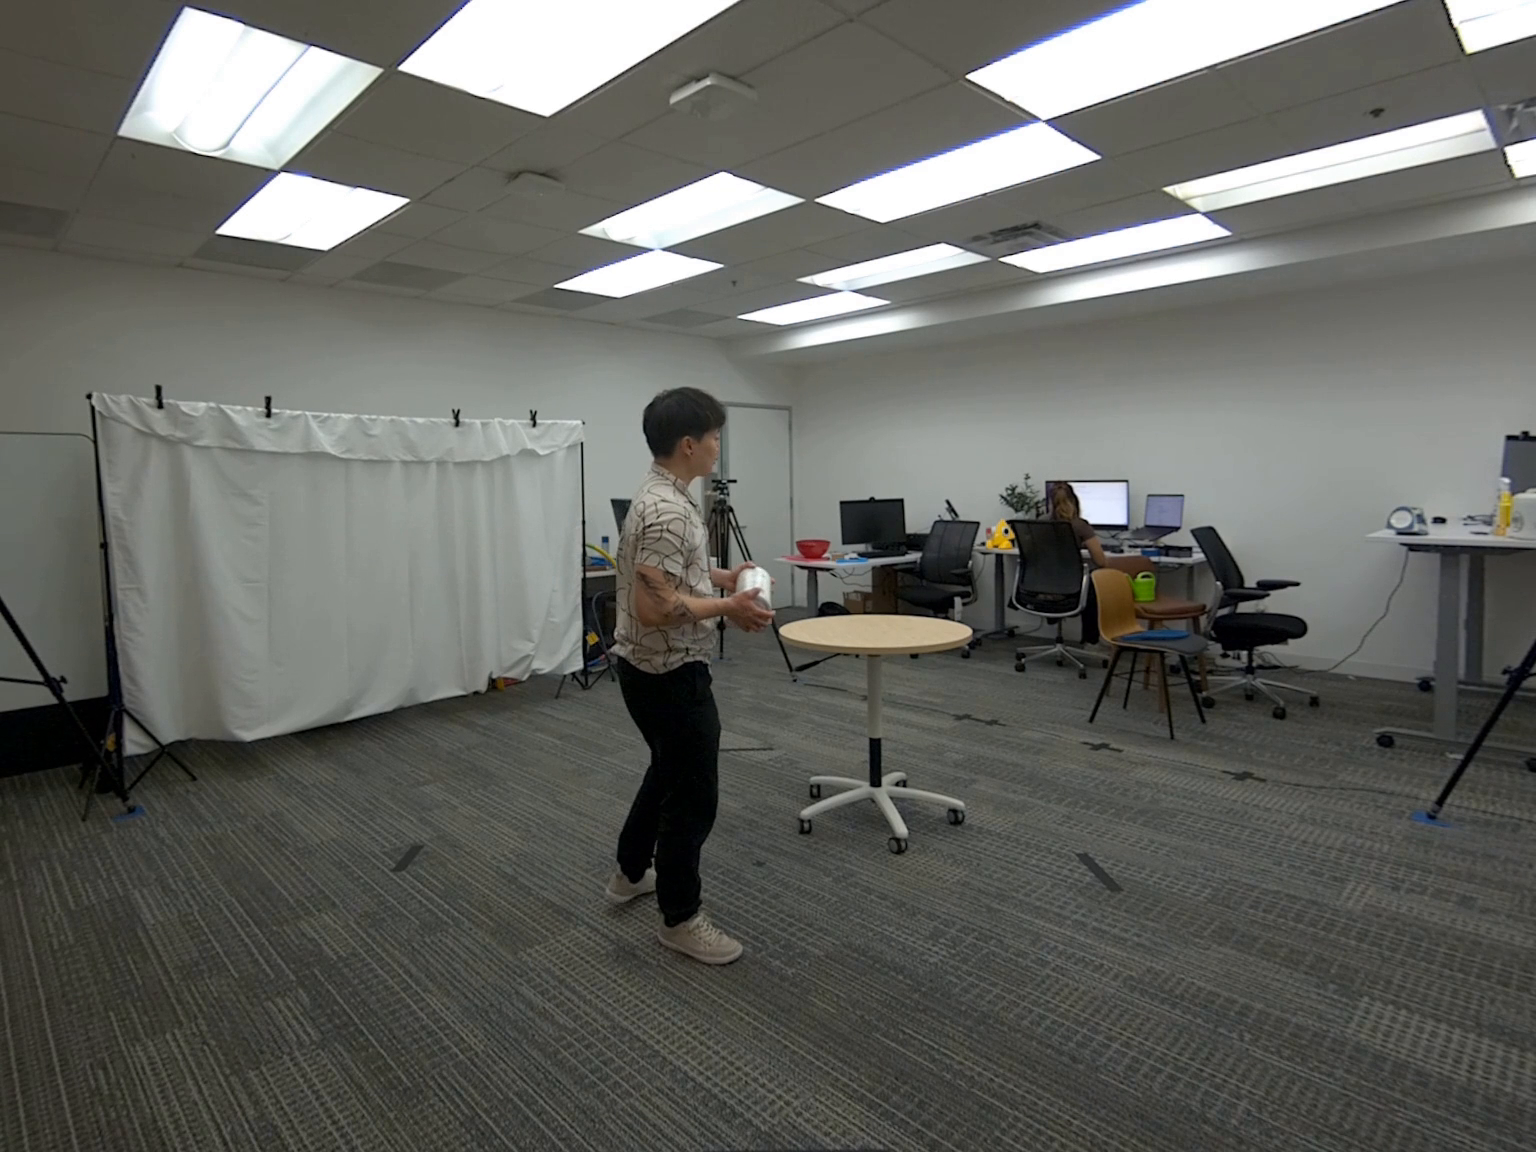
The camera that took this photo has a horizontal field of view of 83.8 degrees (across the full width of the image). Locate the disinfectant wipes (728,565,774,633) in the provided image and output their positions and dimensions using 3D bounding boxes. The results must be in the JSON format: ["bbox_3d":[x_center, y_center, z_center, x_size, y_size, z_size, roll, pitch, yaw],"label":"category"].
[{"bbox_3d":[-0.055,0.064,2.537,0.117,0.116,0.222,-1,21,-3],"label":"disinfectant wipes"}]
